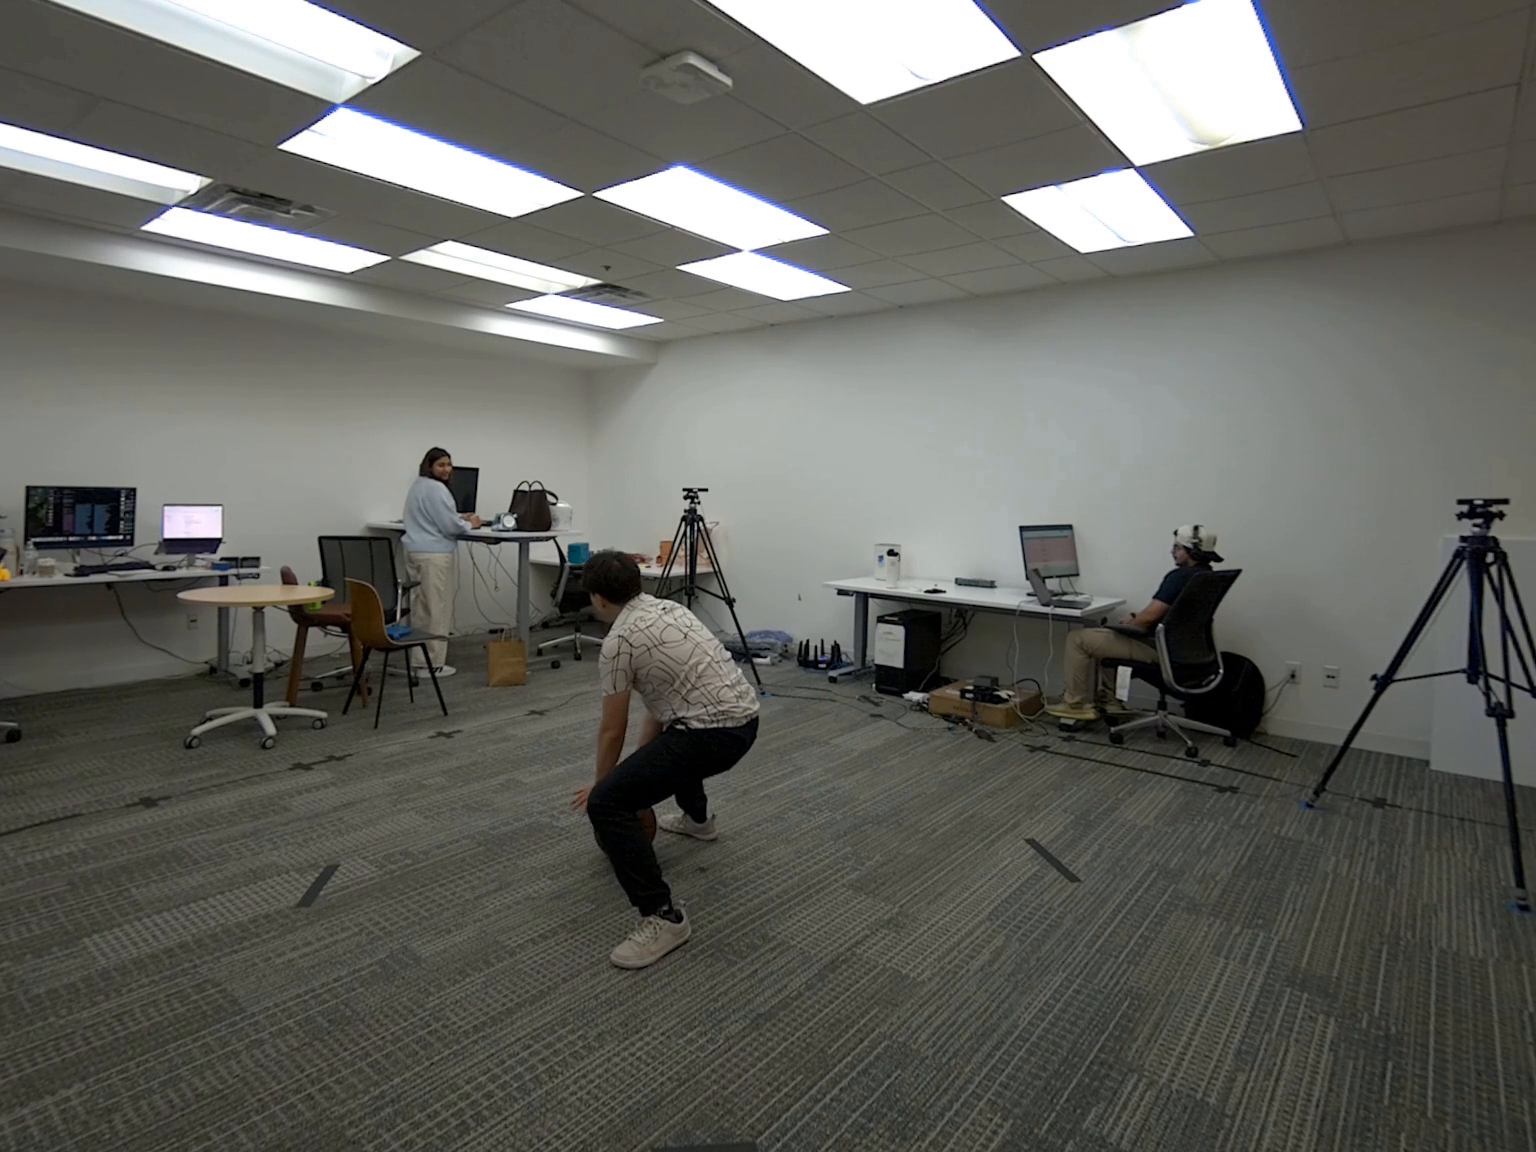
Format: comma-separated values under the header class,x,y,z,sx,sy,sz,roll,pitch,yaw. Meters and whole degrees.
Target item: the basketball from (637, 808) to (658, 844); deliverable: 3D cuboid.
class,x,y,z,sx,sy,sz,roll,pitch,yaw
basketball,-0.547,0.927,3.188,0.235,0.235,0.237,1,4,-2
